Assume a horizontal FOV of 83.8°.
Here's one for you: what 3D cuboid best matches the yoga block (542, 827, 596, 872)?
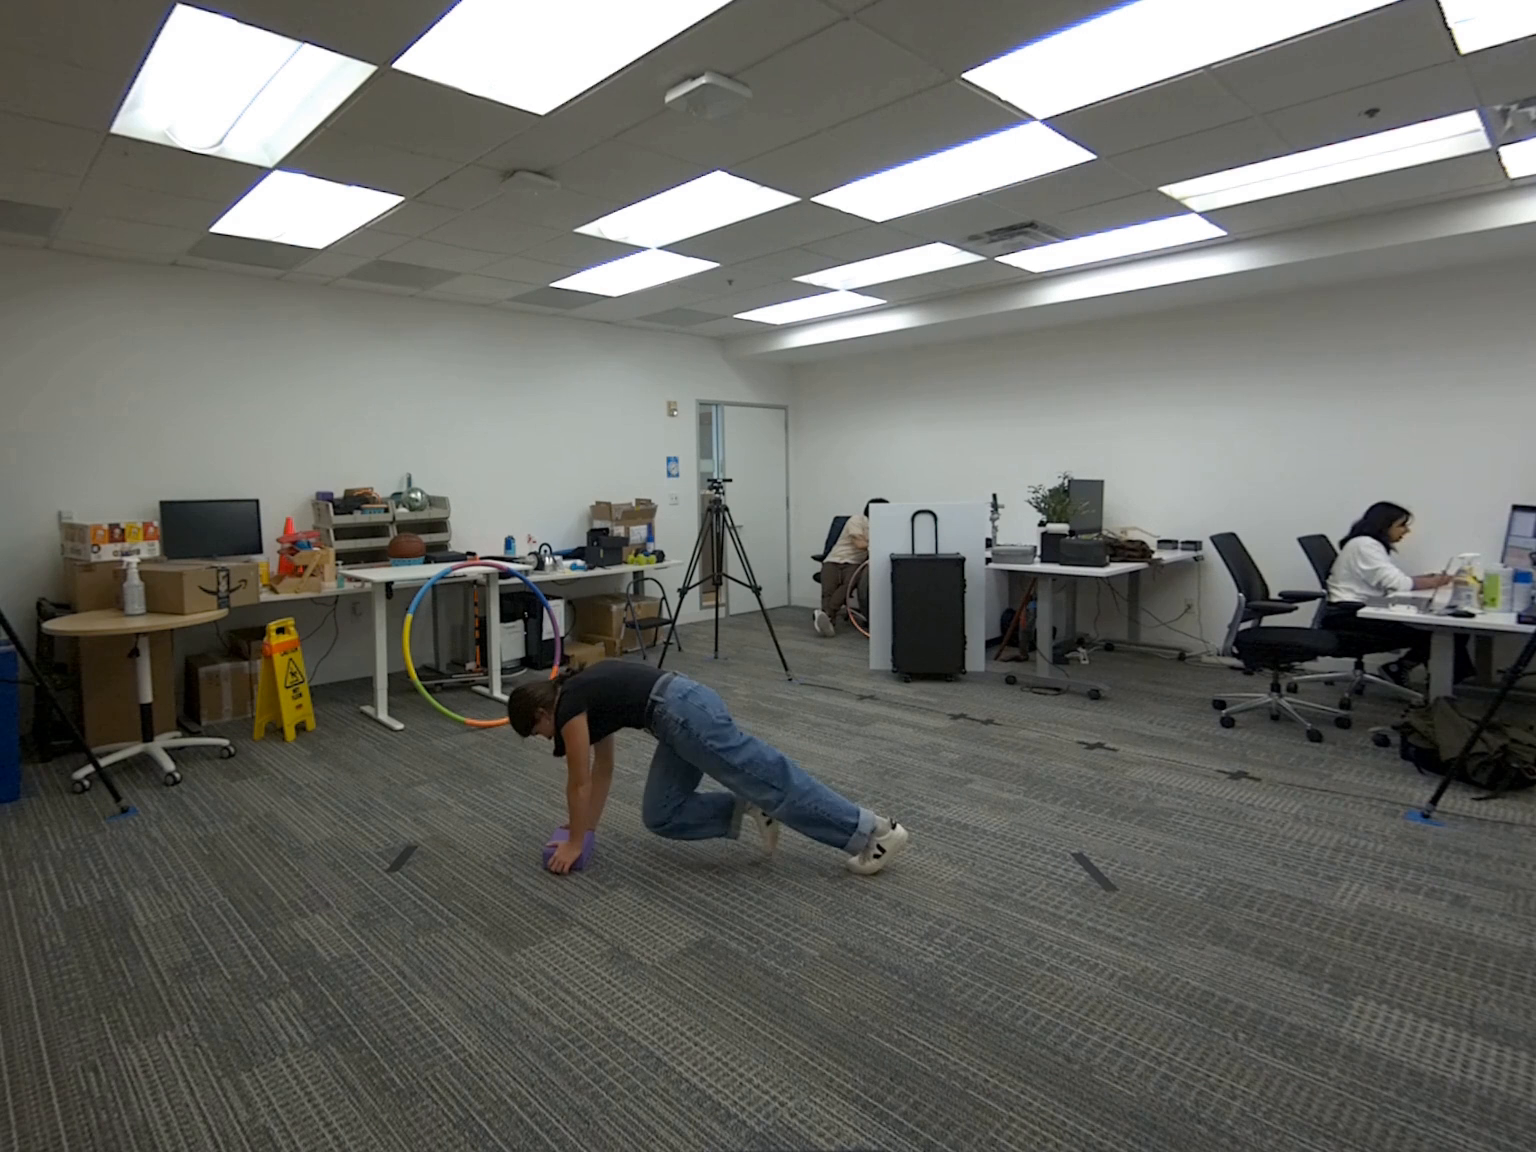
[{"bbox_3d":[-0.742,1.012,3.198,0.149,0.076,0.230,1,7,1],"label":"yoga block"}]
